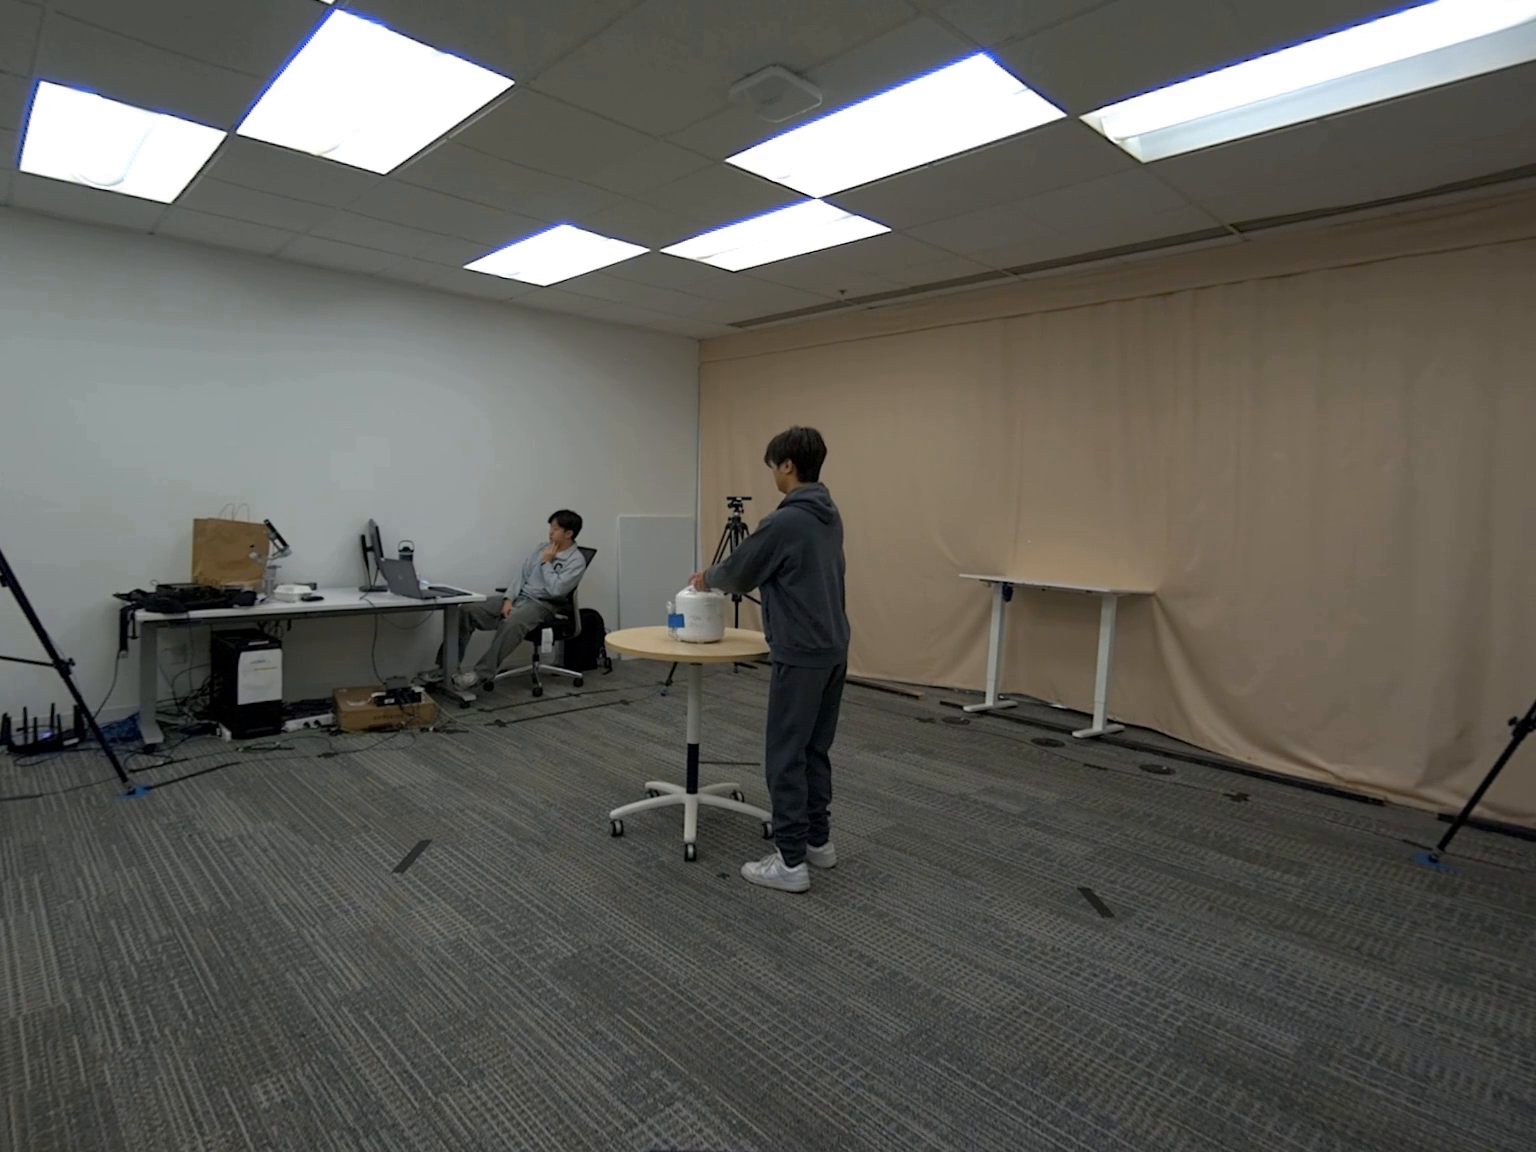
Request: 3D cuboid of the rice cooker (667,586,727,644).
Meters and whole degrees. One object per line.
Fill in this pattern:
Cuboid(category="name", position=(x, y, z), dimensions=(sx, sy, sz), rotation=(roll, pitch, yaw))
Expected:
Cuboid(category="rice cooker", position=(-0.291, 0.151, 3.520), dimensions=(0.226, 0.232, 0.213), rotation=(3, 5, 33))
